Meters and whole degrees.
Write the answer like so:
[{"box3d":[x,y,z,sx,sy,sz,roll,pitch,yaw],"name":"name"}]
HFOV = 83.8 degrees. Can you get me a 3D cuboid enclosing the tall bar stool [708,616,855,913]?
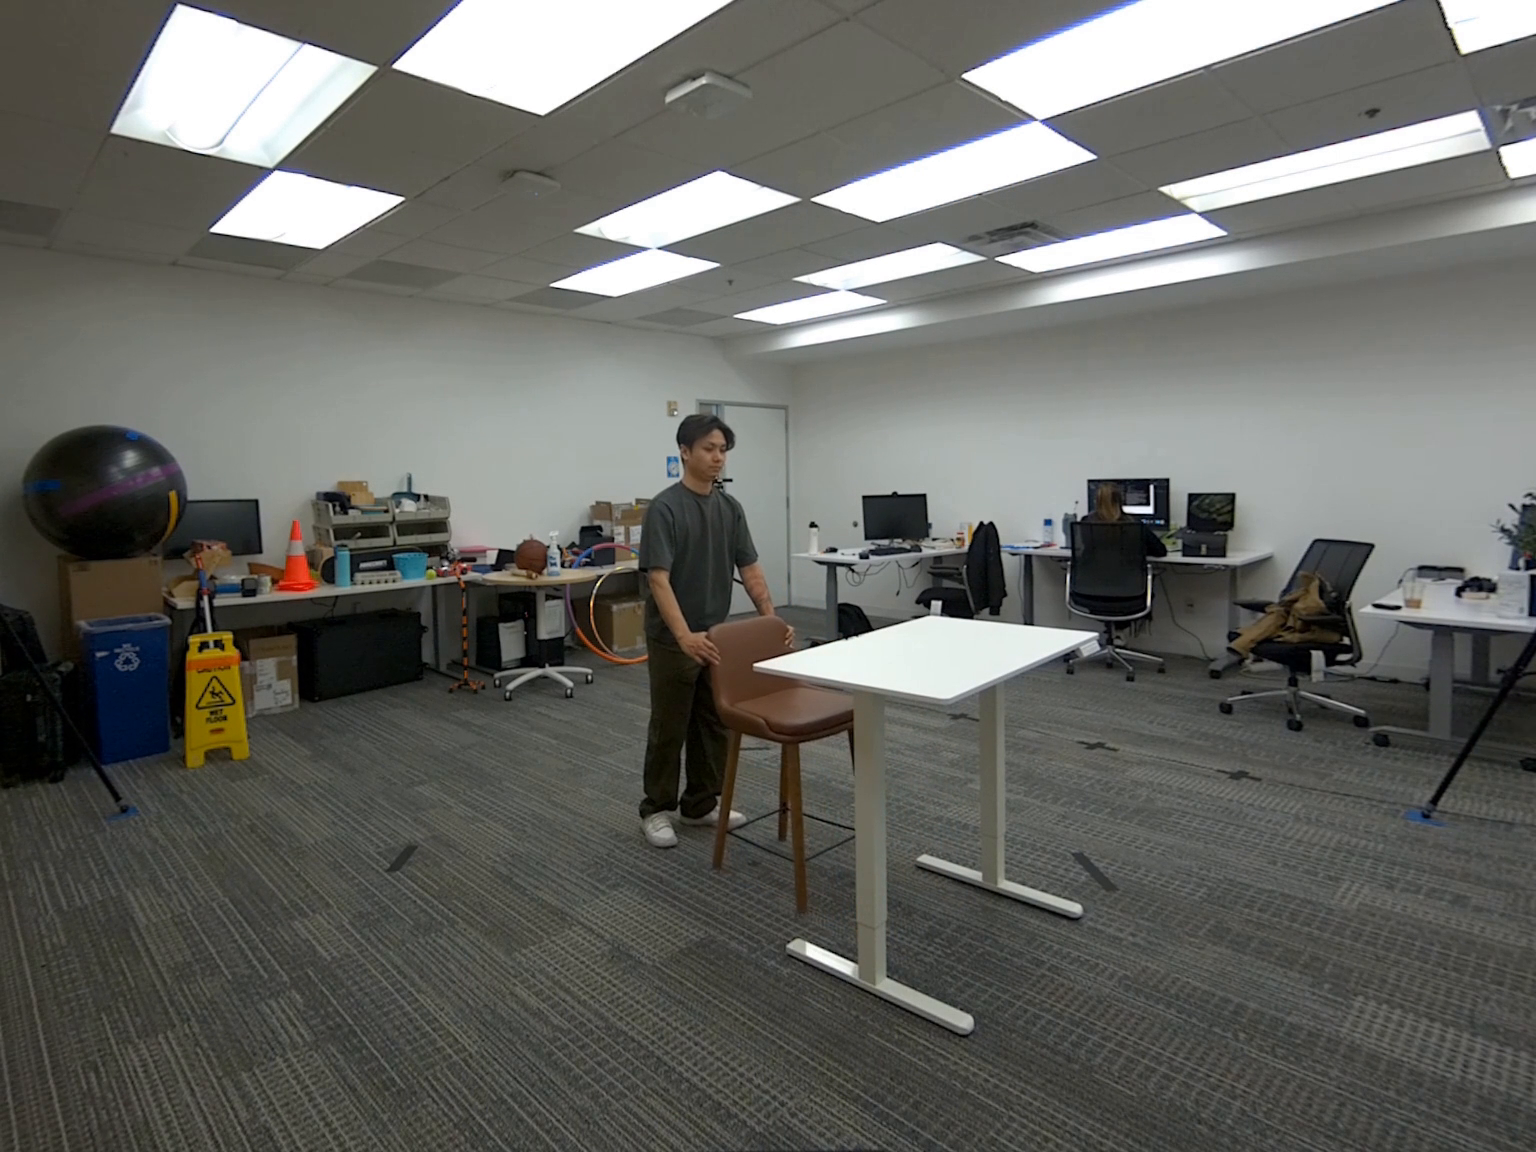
[{"box3d":[0.077,0.613,3.019,0.444,0.888,0.481,-5,4,-44],"name":"tall bar stool"}]
